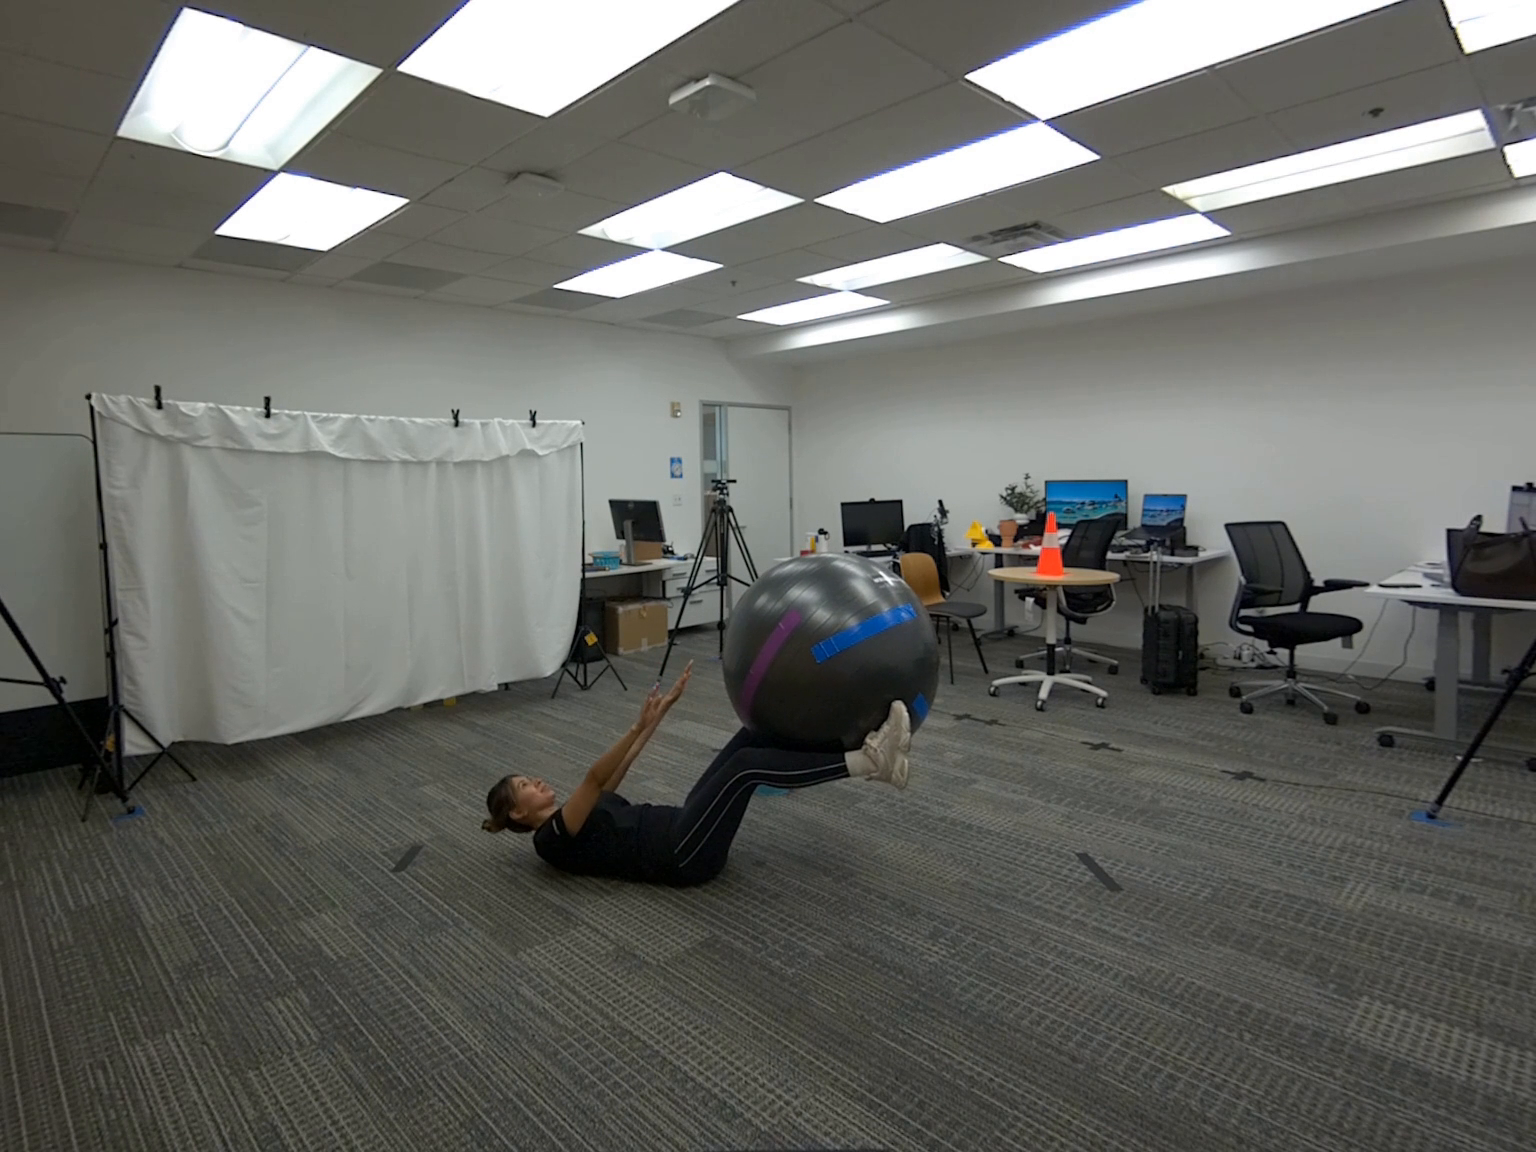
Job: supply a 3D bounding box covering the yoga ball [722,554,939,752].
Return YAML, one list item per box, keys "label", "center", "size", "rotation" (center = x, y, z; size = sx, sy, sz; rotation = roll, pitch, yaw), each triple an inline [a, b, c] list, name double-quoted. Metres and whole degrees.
- label: "yoga ball"
  center: [0.210, 0.293, 3.000]
  size: [0.757, 0.755, 0.762]
  rotation: [-1, 5, -2]
